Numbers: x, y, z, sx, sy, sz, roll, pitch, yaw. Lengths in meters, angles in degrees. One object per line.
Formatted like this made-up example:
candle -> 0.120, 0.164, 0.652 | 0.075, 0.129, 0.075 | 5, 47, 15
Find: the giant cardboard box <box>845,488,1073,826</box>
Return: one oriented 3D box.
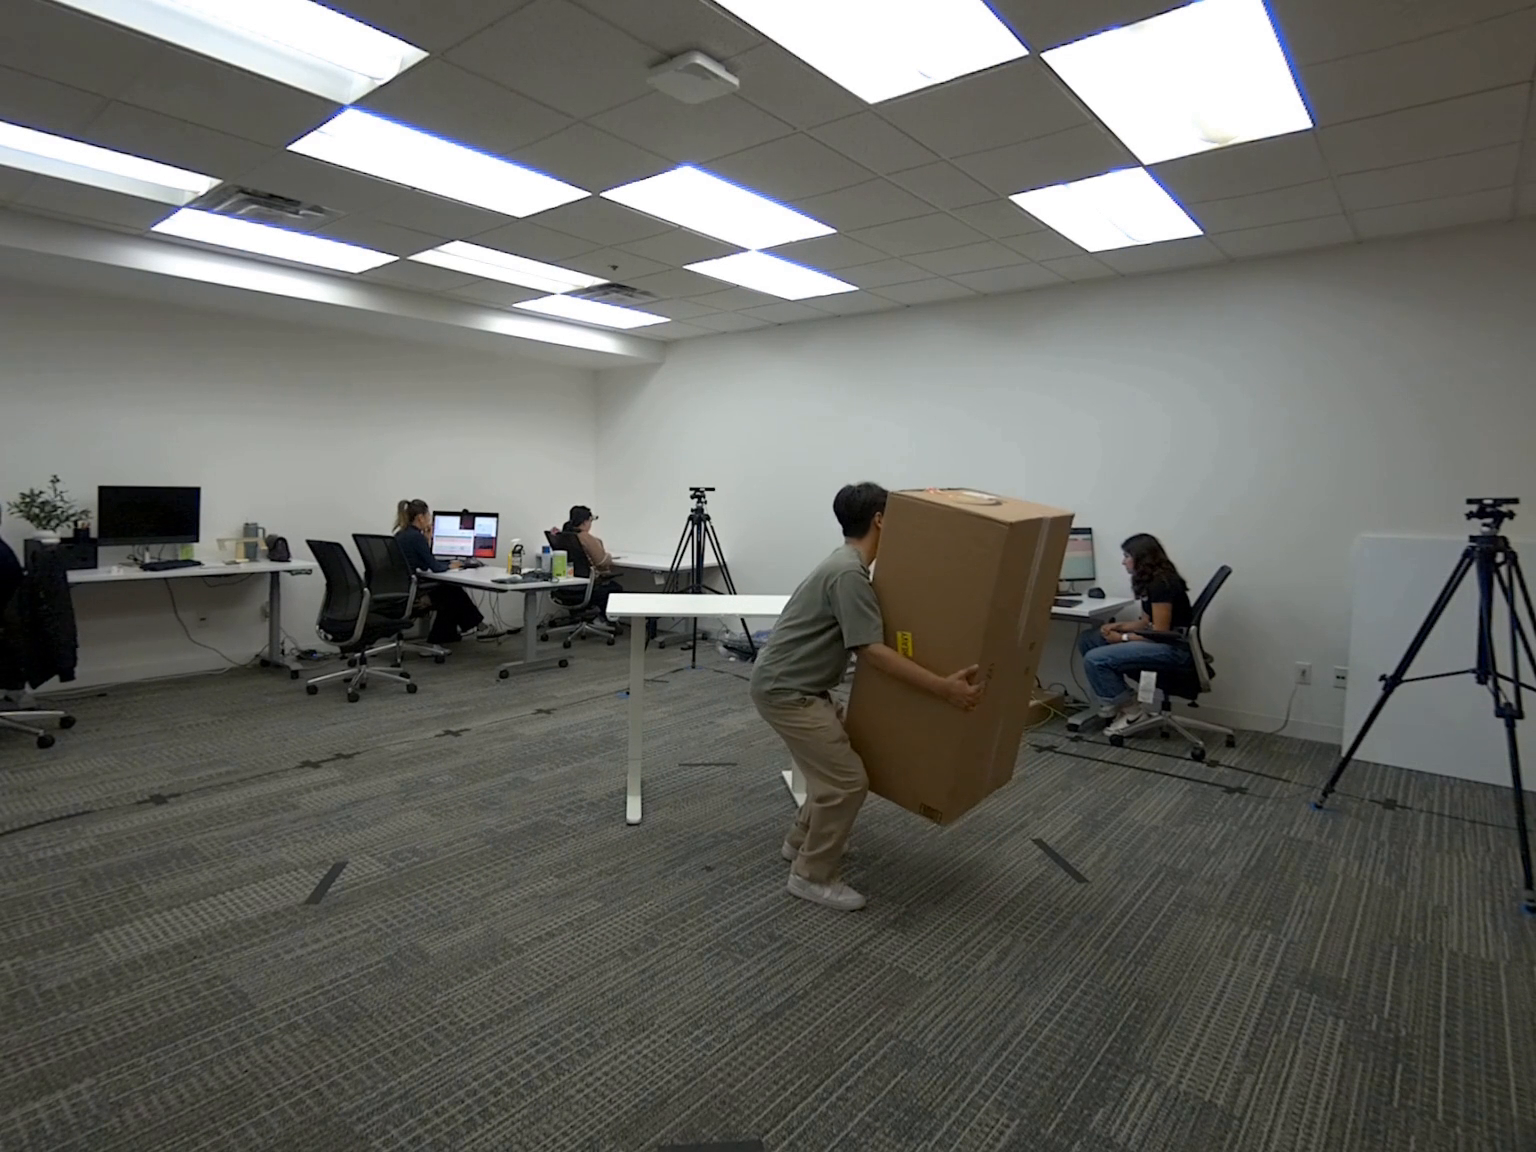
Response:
giant cardboard box -> 0.647, 0.242, 2.978 | 0.443, 1.016, 0.561 | 19, 16, 36
